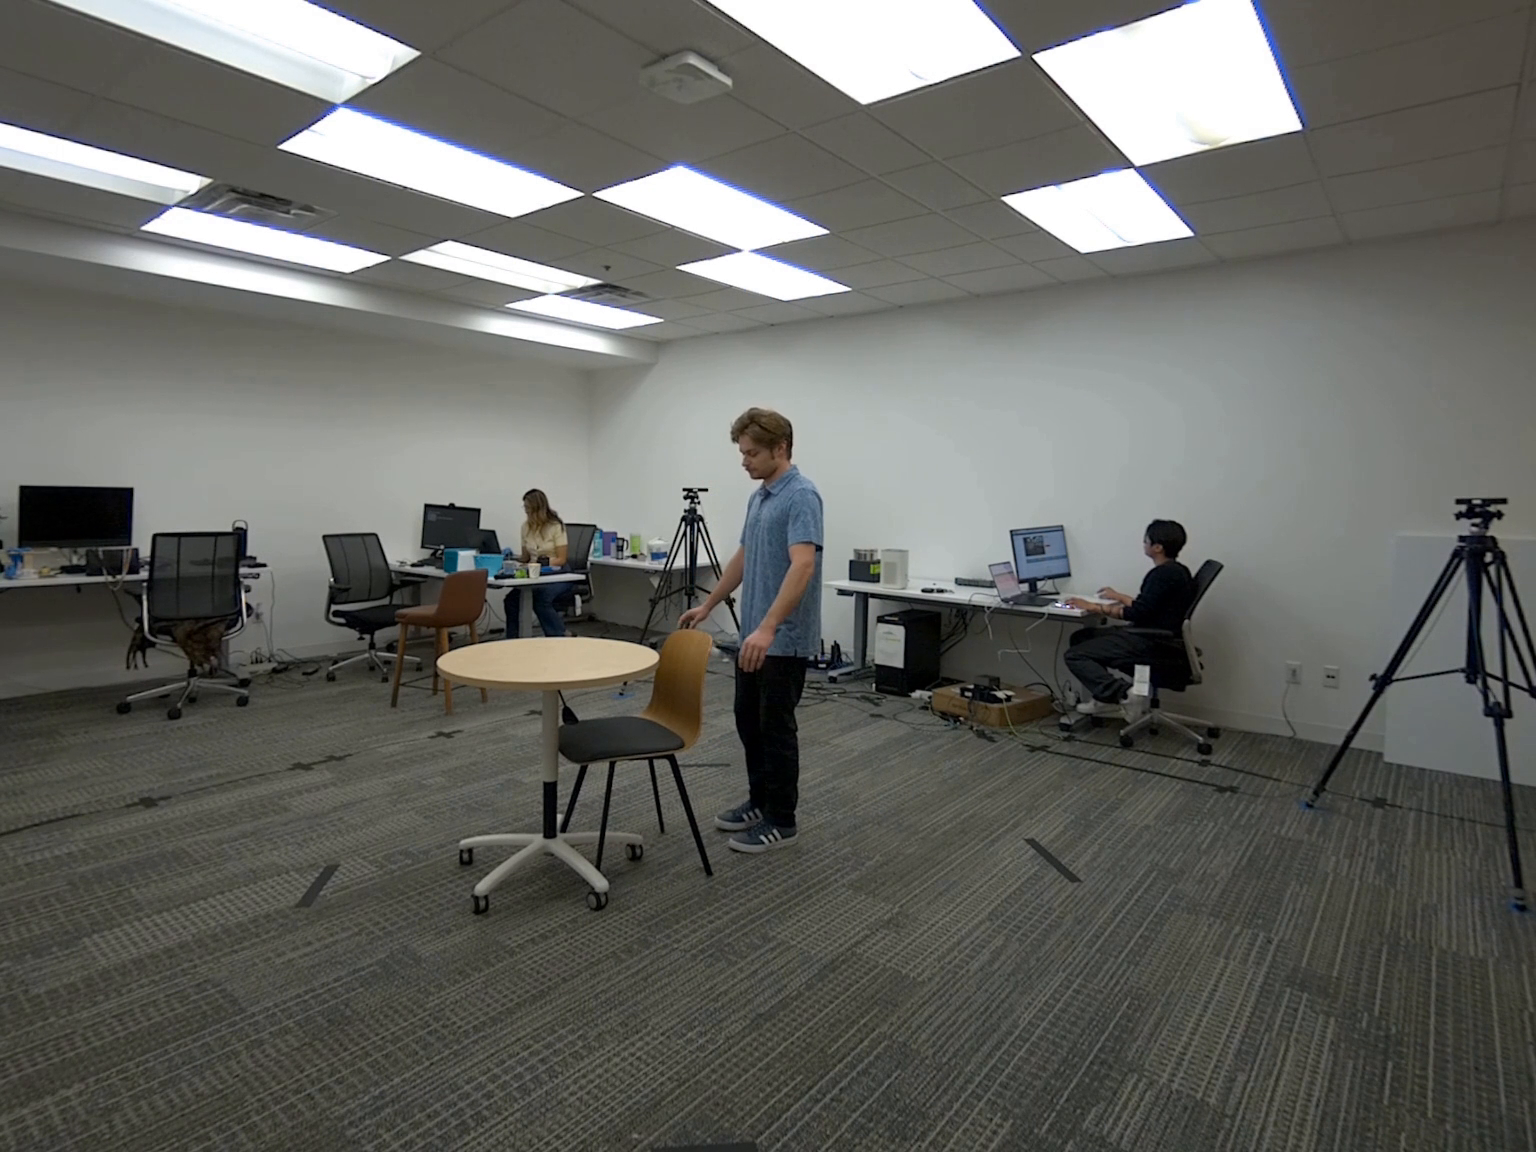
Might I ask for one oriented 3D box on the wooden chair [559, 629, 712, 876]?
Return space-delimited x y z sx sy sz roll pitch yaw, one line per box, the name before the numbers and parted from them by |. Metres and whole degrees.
wooden chair | -0.512 0.635 3.122 0.508 0.877 0.492 4 1 -29
